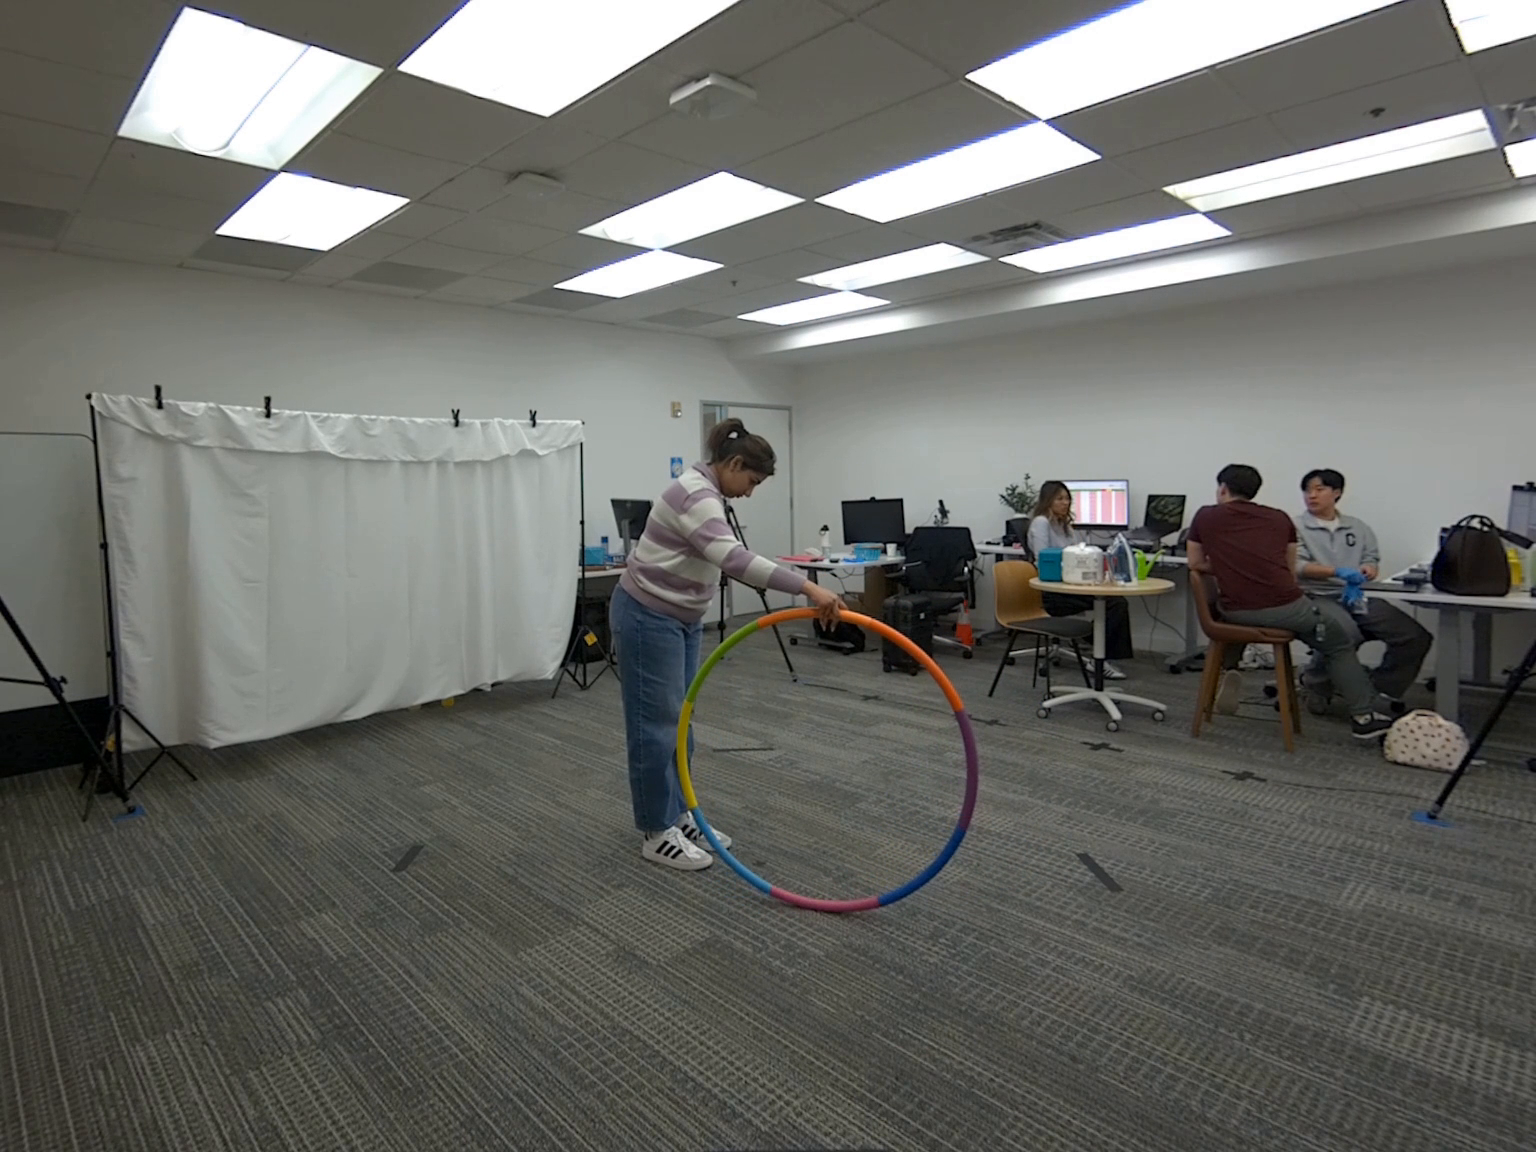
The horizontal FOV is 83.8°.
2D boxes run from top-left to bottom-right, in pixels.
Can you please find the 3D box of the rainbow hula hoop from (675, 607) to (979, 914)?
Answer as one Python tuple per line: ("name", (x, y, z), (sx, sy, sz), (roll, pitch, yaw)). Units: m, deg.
("rainbow hula hoop", (0.167, 0.591, 2.748), (0.997, 0.977, 0.035), (1, 2, 20))
